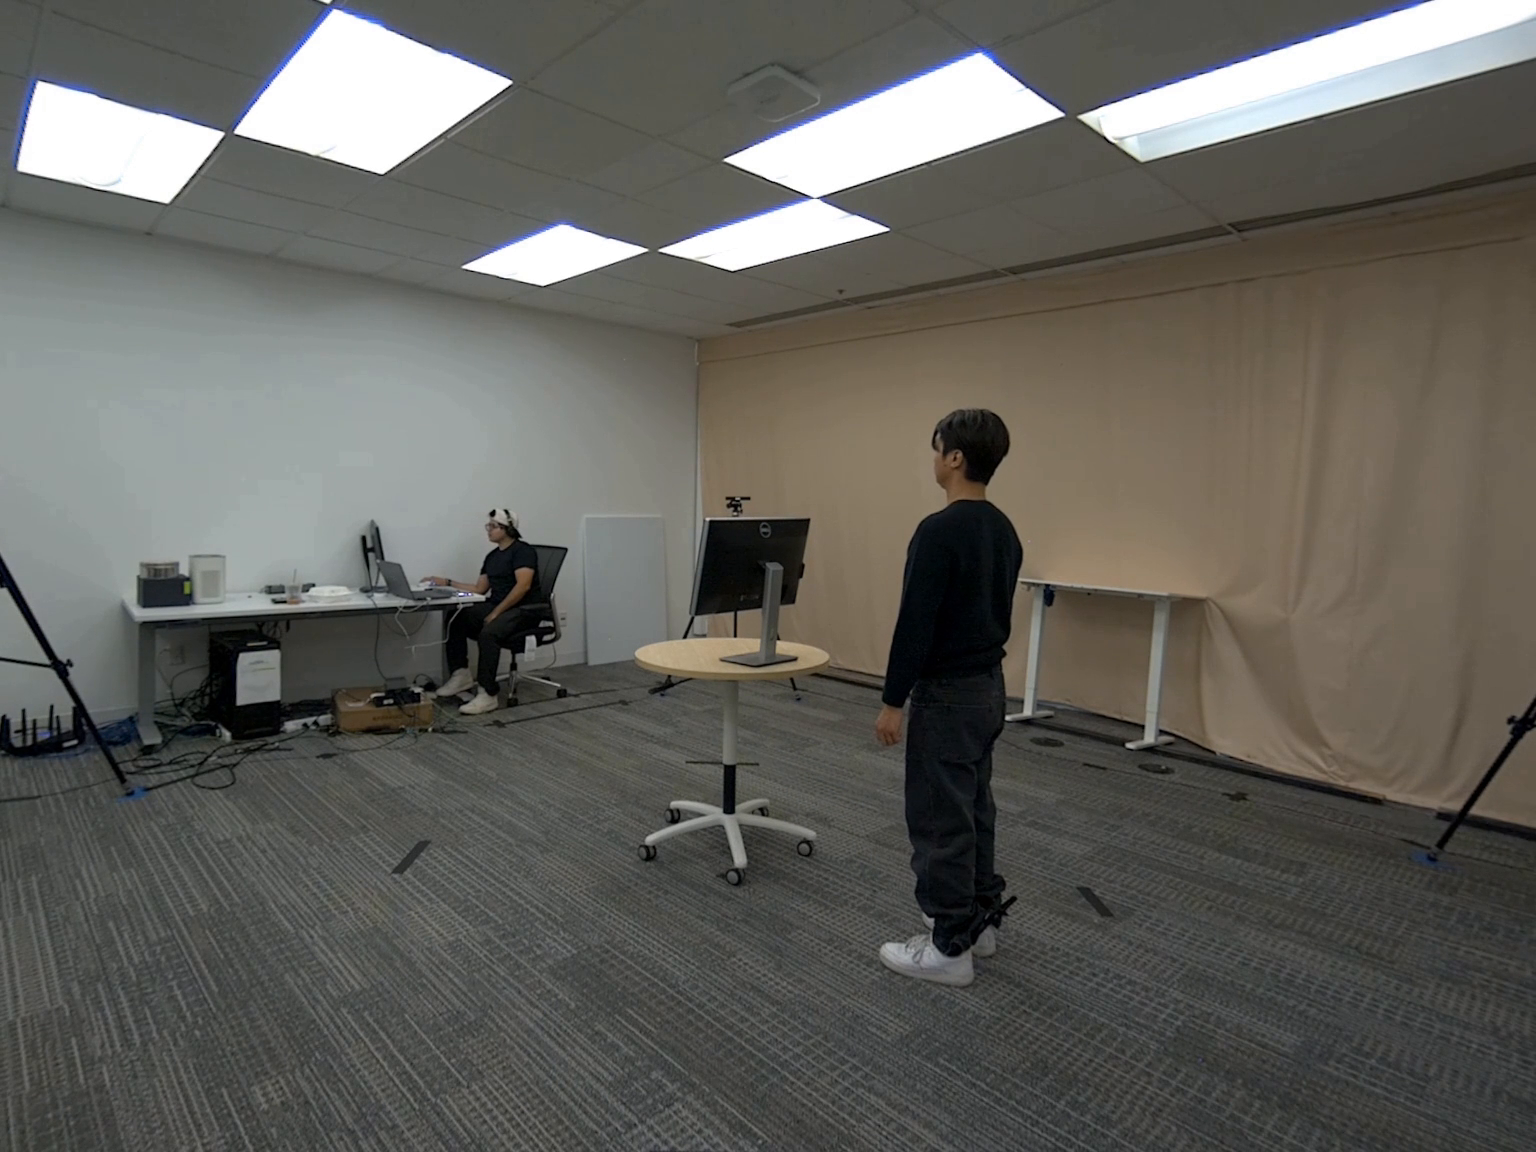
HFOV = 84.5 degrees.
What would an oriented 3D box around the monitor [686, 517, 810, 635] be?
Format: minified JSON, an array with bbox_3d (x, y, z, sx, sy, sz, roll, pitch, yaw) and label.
[{"bbox_3d":[-0.039,0.054,3.172,0.192,0.522,0.527,2,3,42],"label":"monitor"}]
